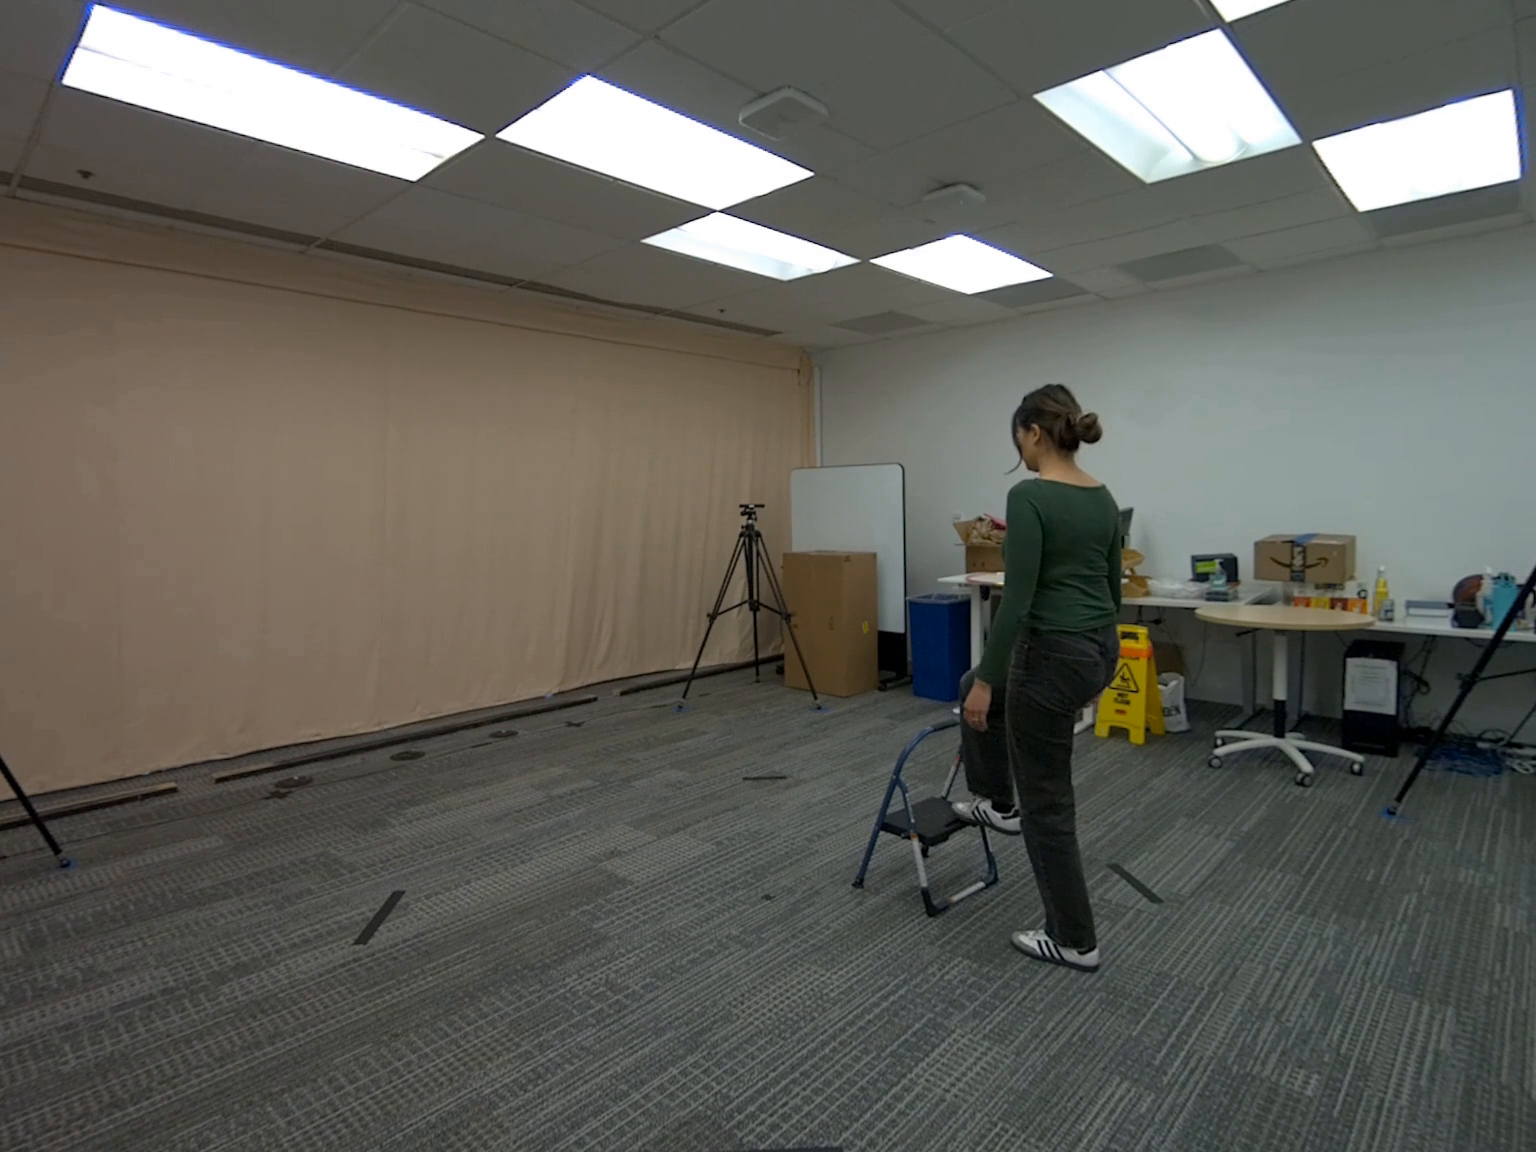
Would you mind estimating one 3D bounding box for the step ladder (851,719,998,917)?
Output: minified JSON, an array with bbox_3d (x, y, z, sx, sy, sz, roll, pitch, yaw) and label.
[{"bbox_3d":[0.577,0.818,3.054,0.417,0.604,0.361,-4,5,-43],"label":"step ladder"}]
